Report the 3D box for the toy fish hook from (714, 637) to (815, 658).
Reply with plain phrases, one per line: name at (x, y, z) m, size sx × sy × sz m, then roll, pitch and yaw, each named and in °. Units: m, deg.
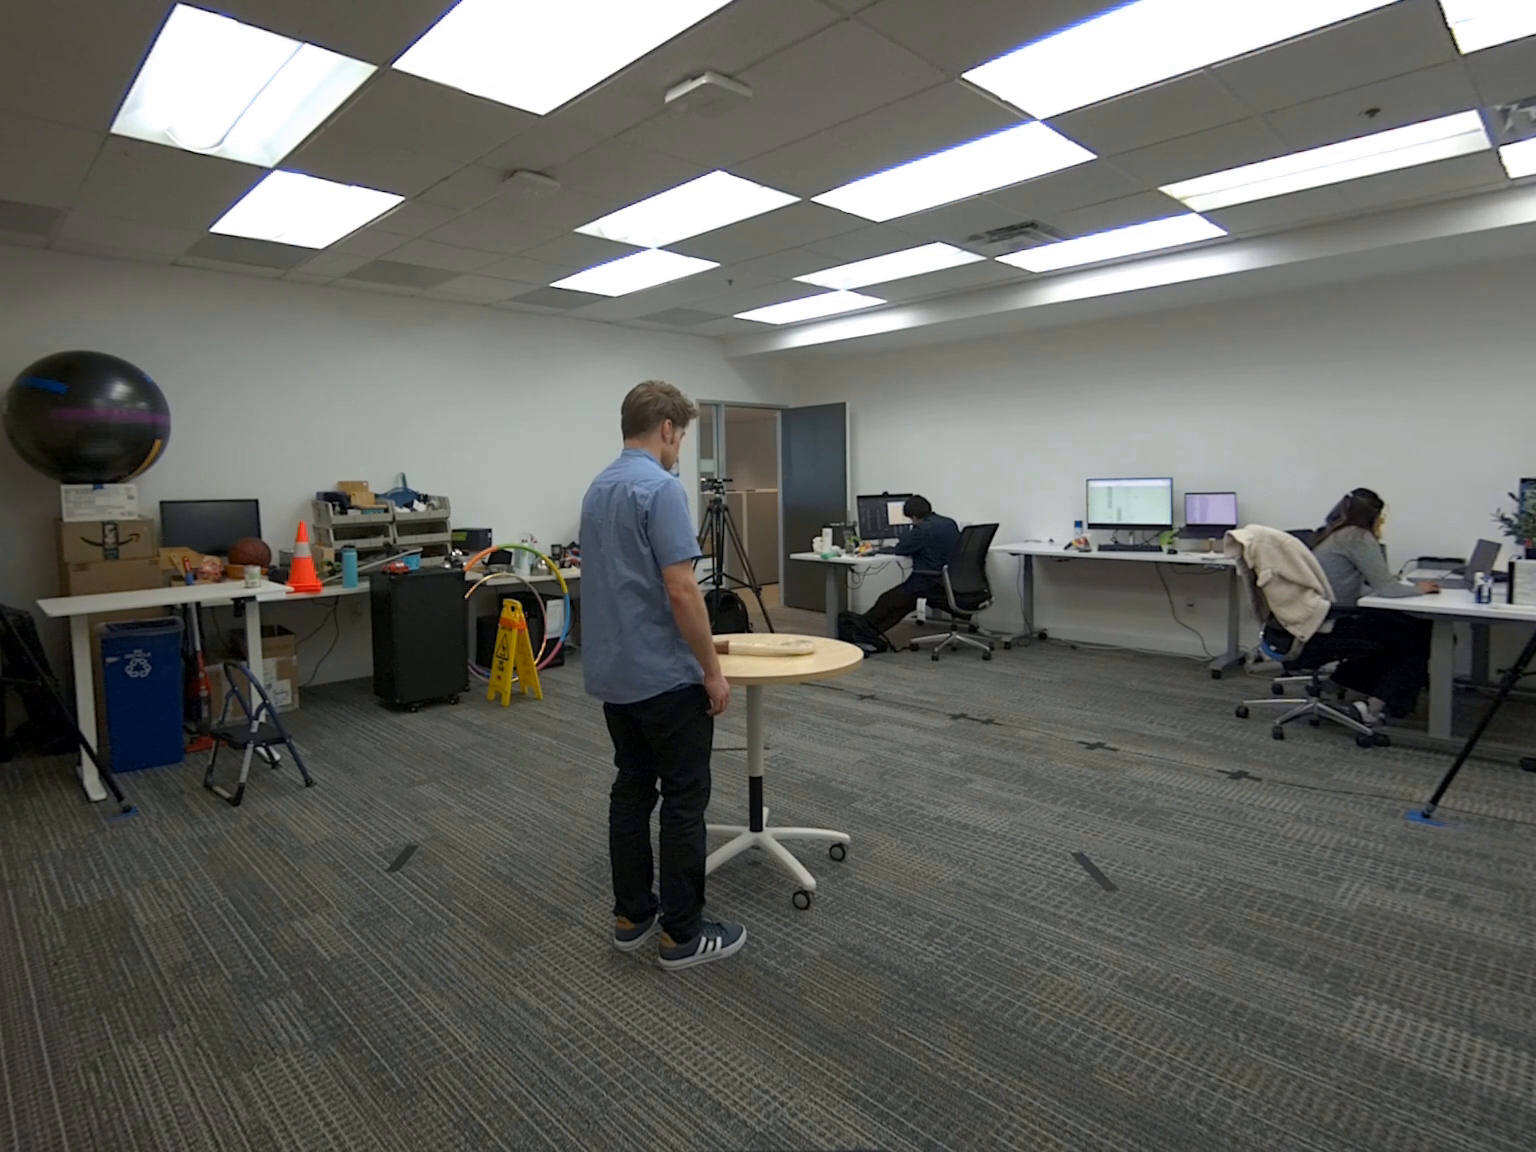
toy fish hook at (-0.086, 0.251, 3.043) m, size 0.509 × 0.048 × 0.223 m, roll 2°, pitch -1°, yaw 5°
